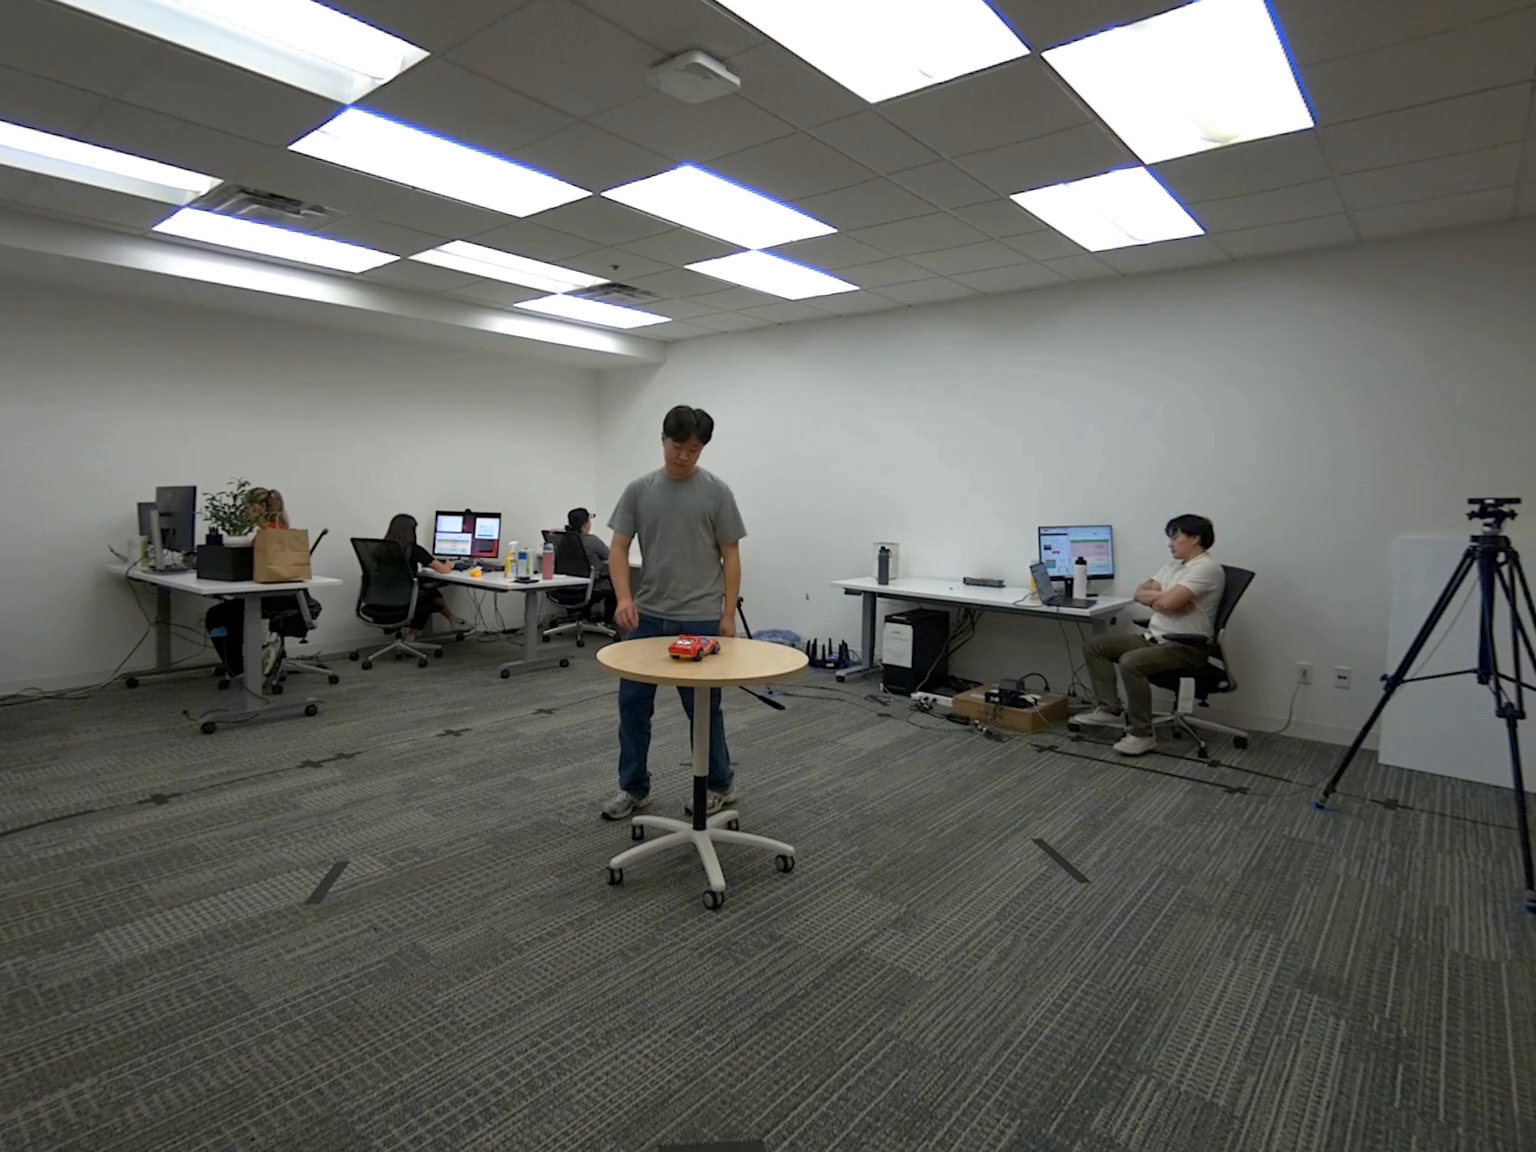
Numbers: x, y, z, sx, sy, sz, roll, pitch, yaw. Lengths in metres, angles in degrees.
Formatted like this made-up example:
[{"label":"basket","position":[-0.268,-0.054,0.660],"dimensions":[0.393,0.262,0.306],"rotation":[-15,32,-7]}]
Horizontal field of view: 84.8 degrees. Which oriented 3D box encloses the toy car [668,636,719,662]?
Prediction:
[{"label":"toy car","position":[-0.281,0.255,3.047],"dimensions":[0.133,0.083,0.247],"rotation":[4,-5,21]}]
